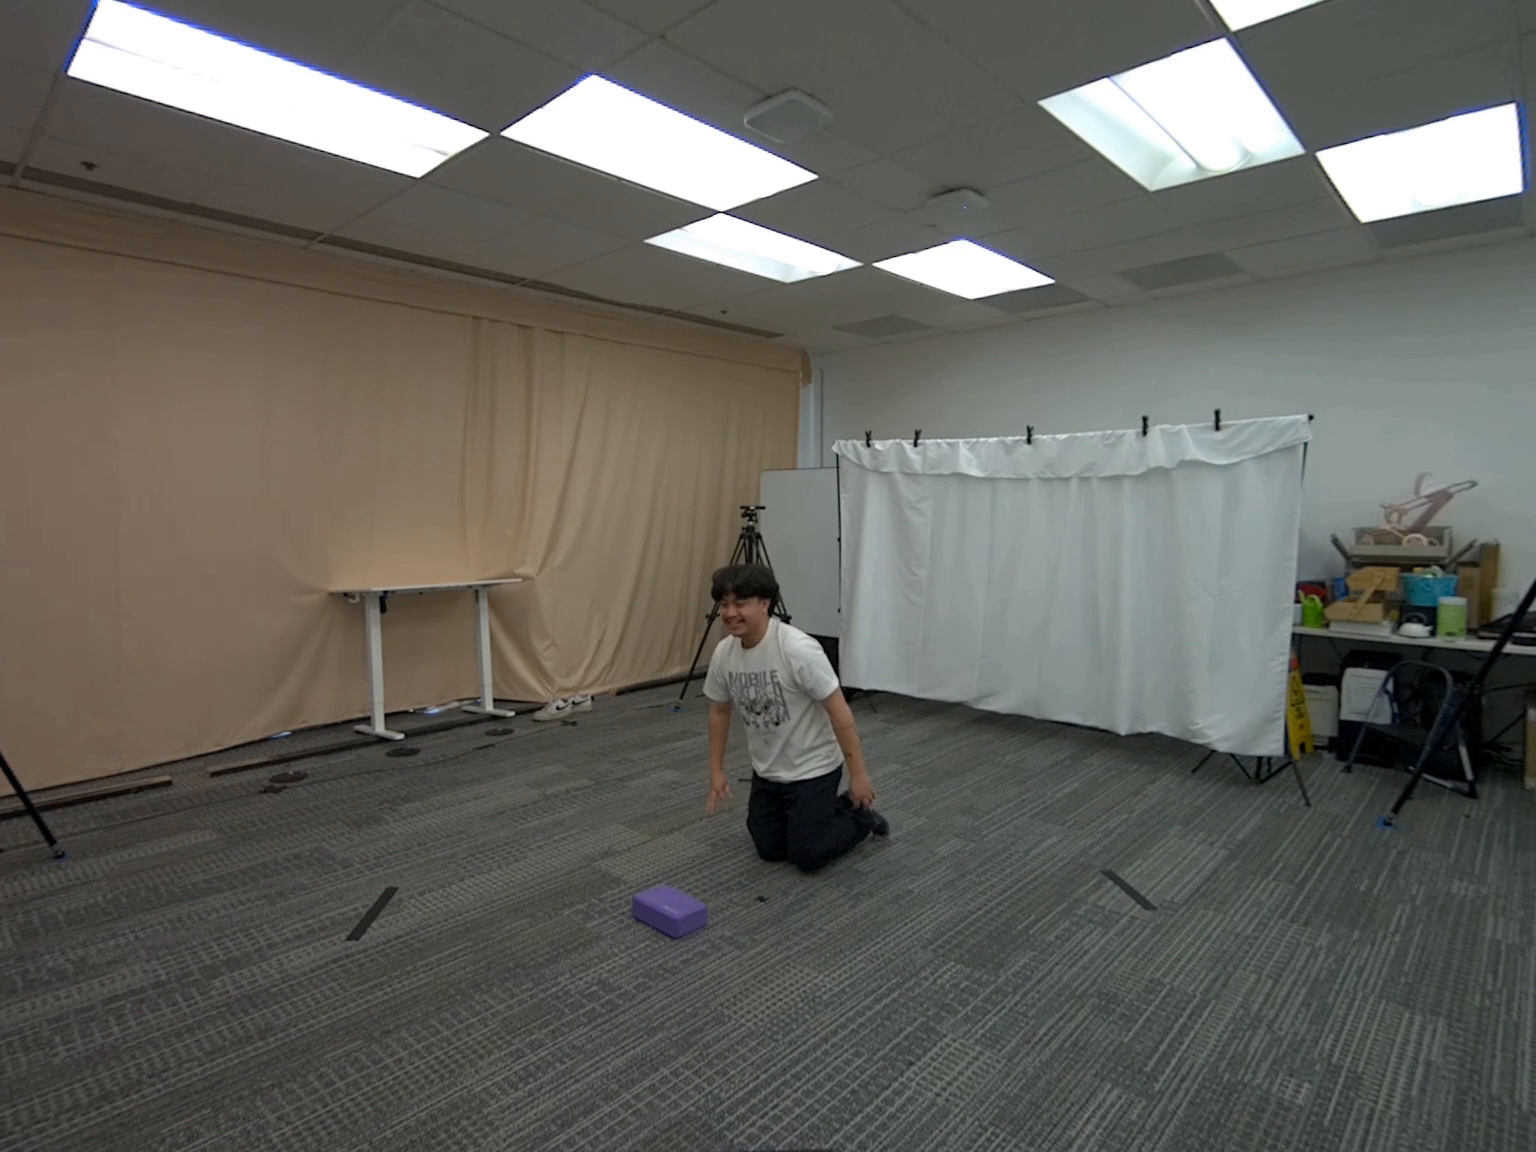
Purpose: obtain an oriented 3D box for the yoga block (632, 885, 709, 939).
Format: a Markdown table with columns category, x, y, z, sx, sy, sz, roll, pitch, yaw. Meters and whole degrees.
| category | x | y | z | sx | sy | sz | roll | pitch | yaw |
| --- | --- | --- | --- | --- | --- | --- | --- | --- | --- |
| yoga block | -0.328 | 1.119 | 2.829 | 0.237 | 0.076 | 0.144 | 4 | 5 | 42 |
